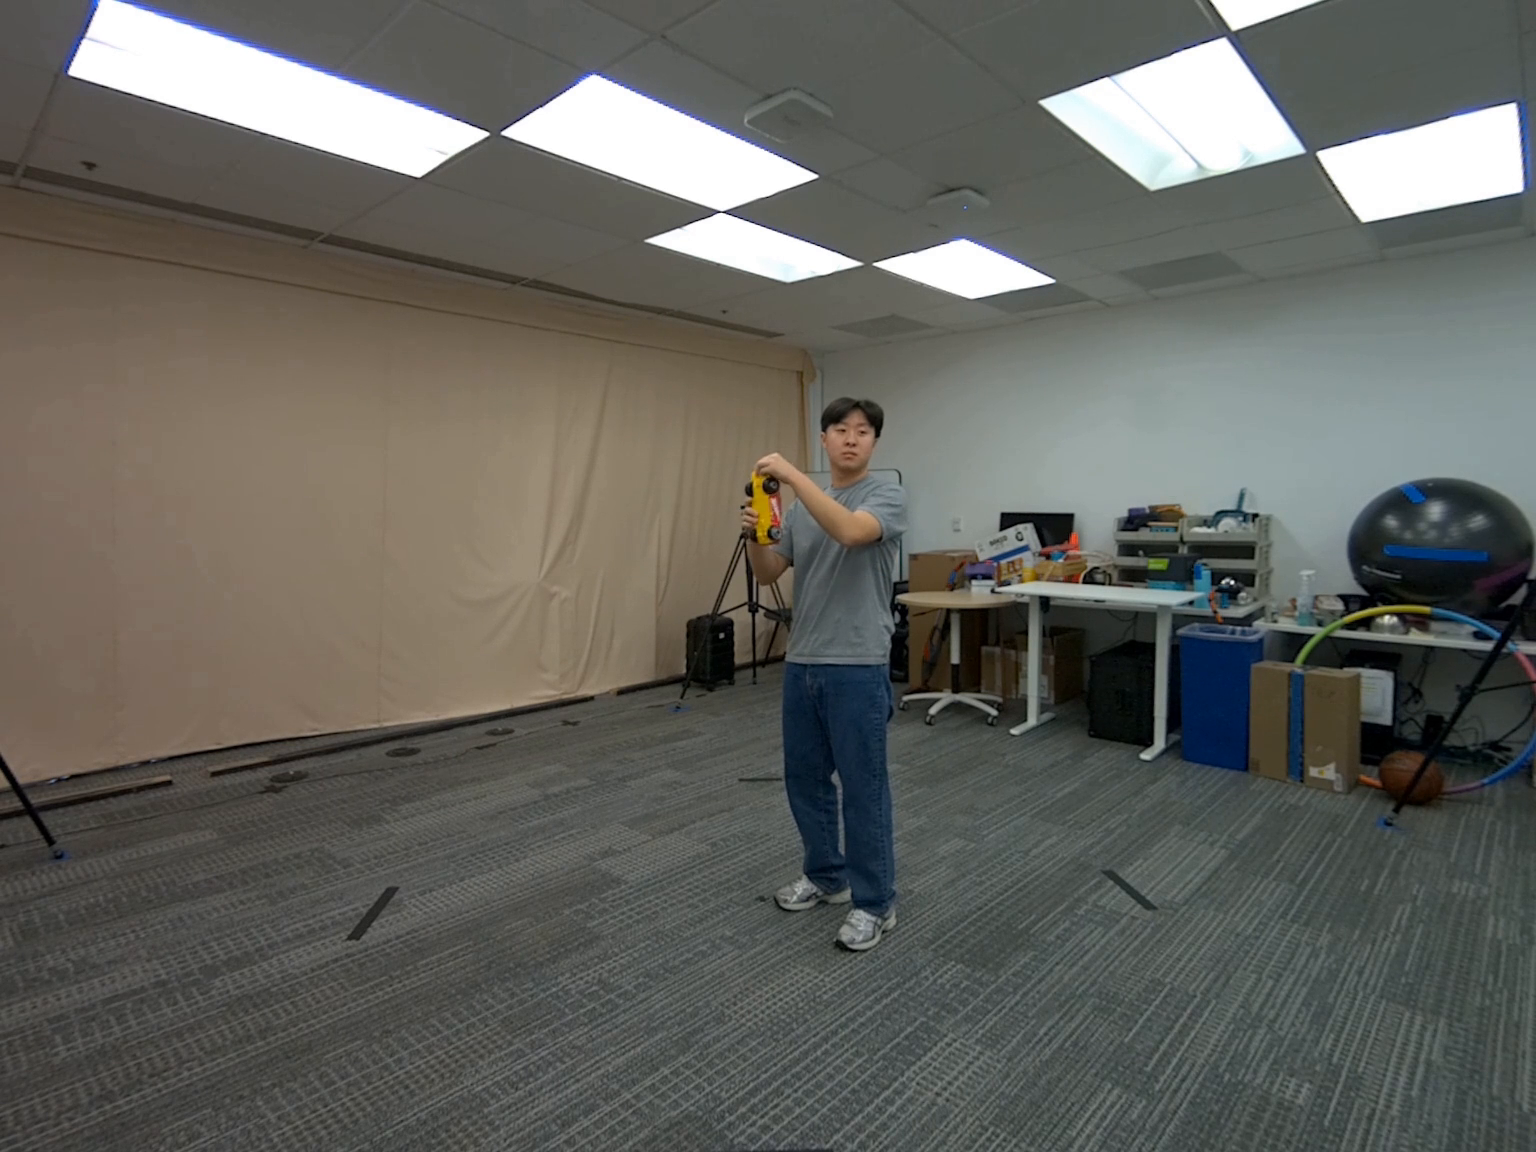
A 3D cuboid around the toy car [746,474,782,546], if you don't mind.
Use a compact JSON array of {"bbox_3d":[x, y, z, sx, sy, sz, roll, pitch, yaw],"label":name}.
[{"bbox_3d":[0.005,-0.231,2.614,0.080,0.256,0.134,9,-10,-36],"label":"toy car"}]
